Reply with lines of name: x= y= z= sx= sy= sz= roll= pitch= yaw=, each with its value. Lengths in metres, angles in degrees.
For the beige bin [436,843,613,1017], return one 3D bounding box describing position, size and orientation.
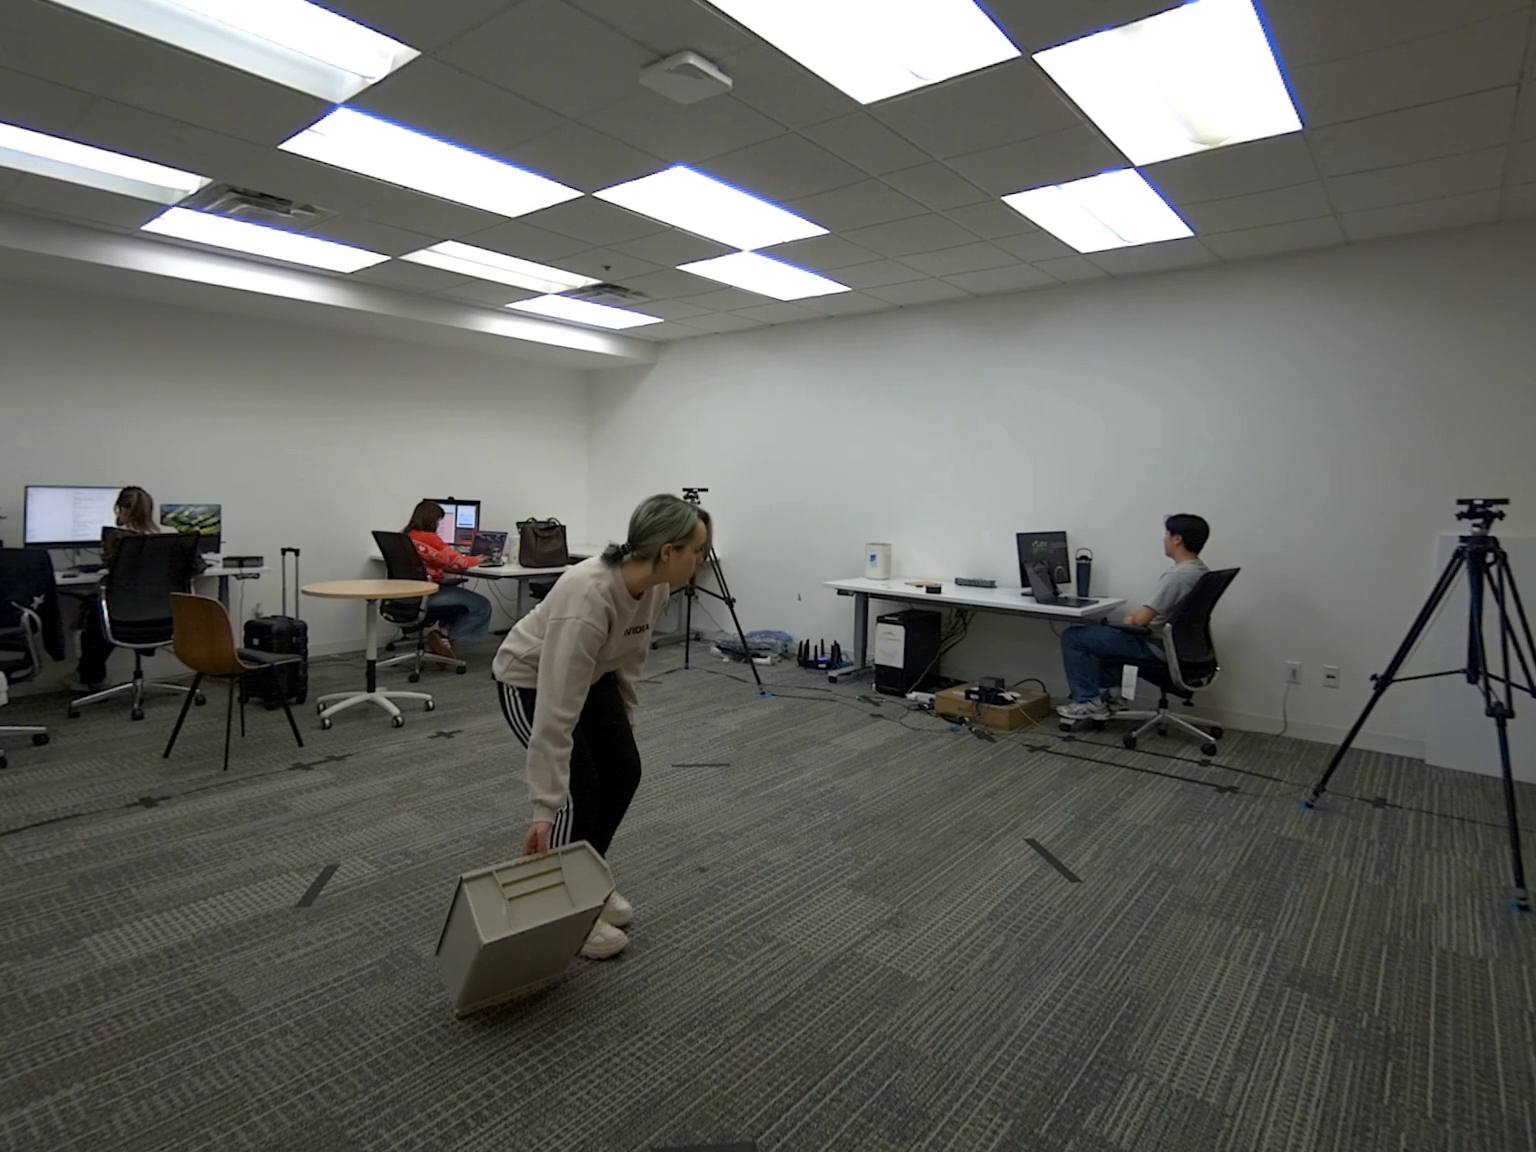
beige bin: x=-0.654 y=0.927 z=2.248 sx=0.367 sy=0.418 sz=0.196 roll=-5 pitch=47 yaw=-37
